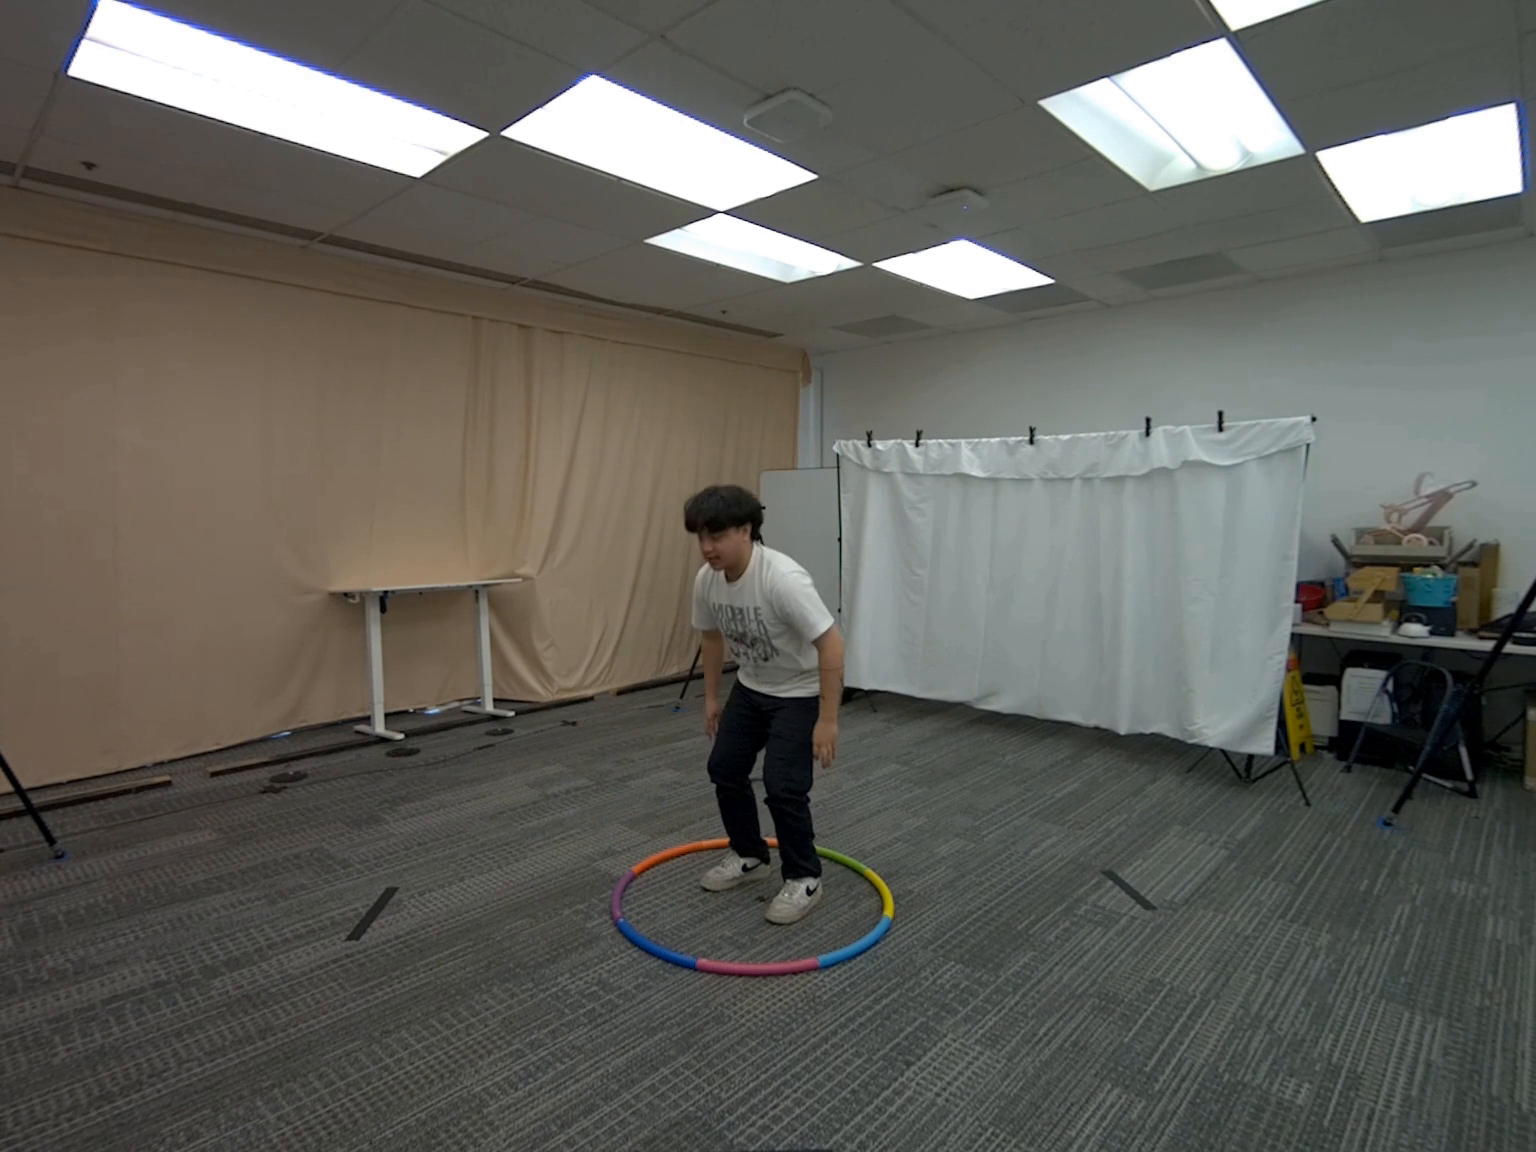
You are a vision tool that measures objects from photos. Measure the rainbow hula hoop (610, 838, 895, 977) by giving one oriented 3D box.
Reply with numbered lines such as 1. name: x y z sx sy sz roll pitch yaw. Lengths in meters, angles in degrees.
1. rainbow hula hoop: -0.058 1.119 2.974 0.985 0.051 0.989 0 5 -2
